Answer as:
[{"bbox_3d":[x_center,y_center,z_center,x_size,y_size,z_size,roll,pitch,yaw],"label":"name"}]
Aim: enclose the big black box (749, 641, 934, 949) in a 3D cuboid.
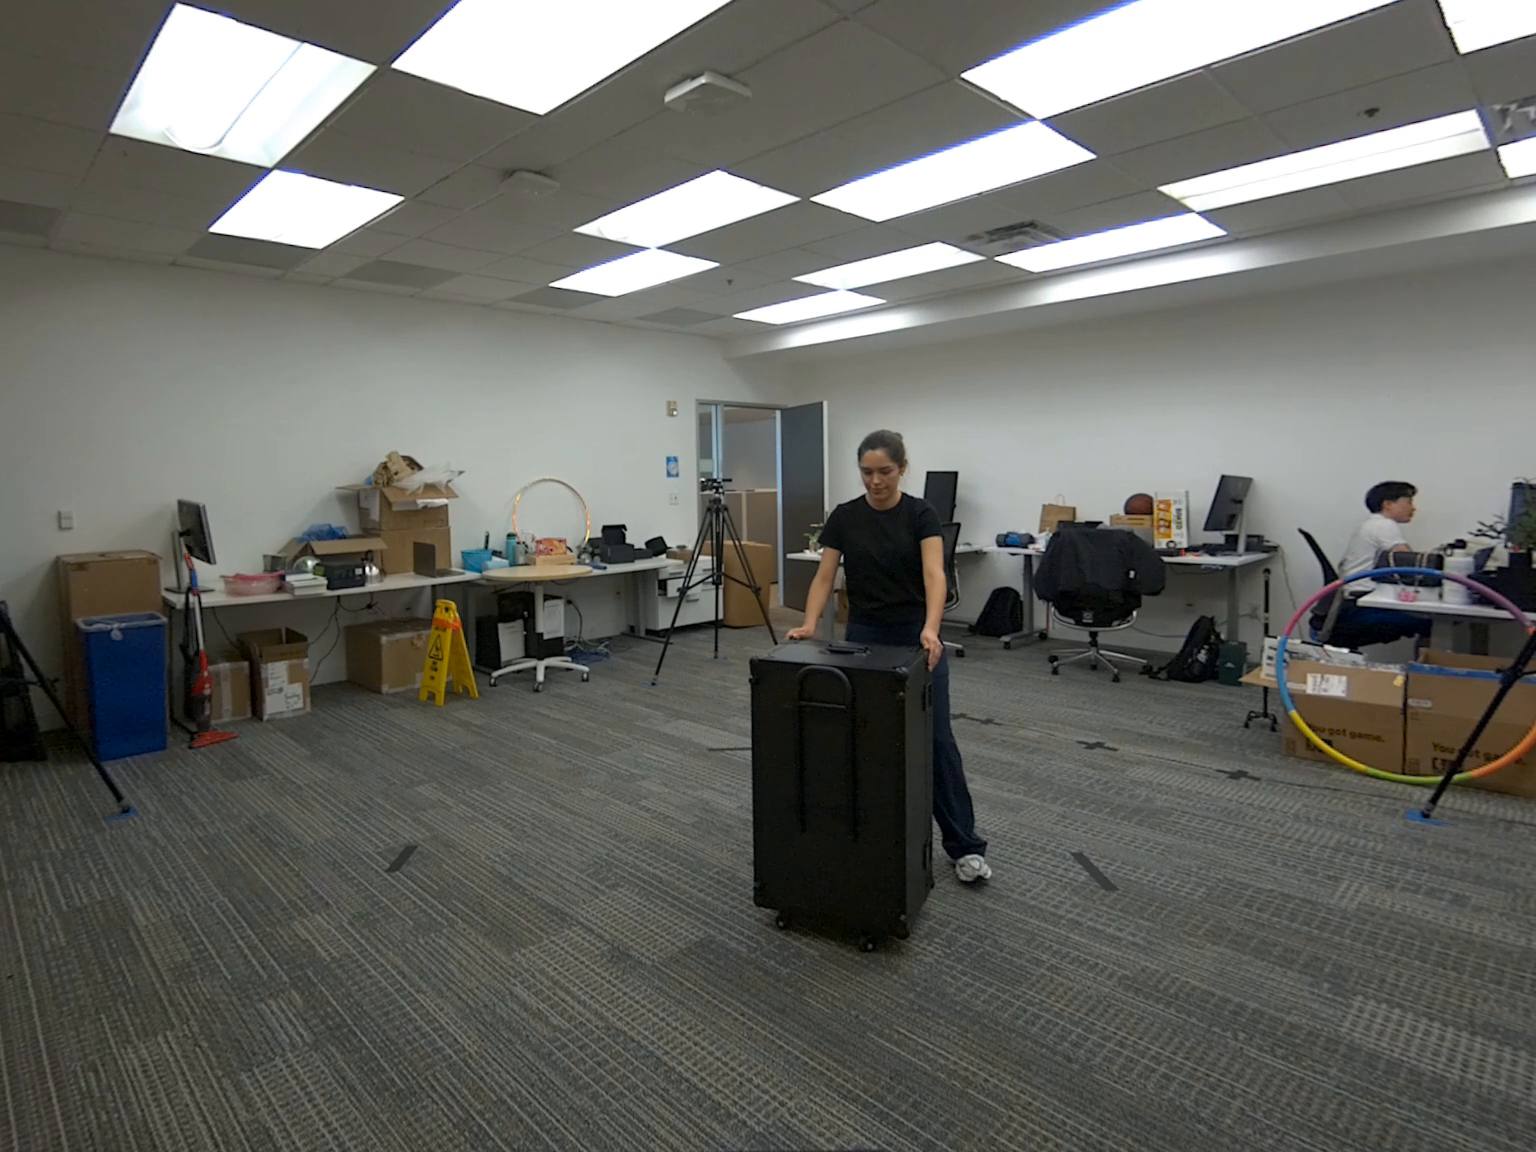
[{"bbox_3d":[0.238,0.659,2.686,0.533,0.858,0.389,1,5,25],"label":"big black box"}]
